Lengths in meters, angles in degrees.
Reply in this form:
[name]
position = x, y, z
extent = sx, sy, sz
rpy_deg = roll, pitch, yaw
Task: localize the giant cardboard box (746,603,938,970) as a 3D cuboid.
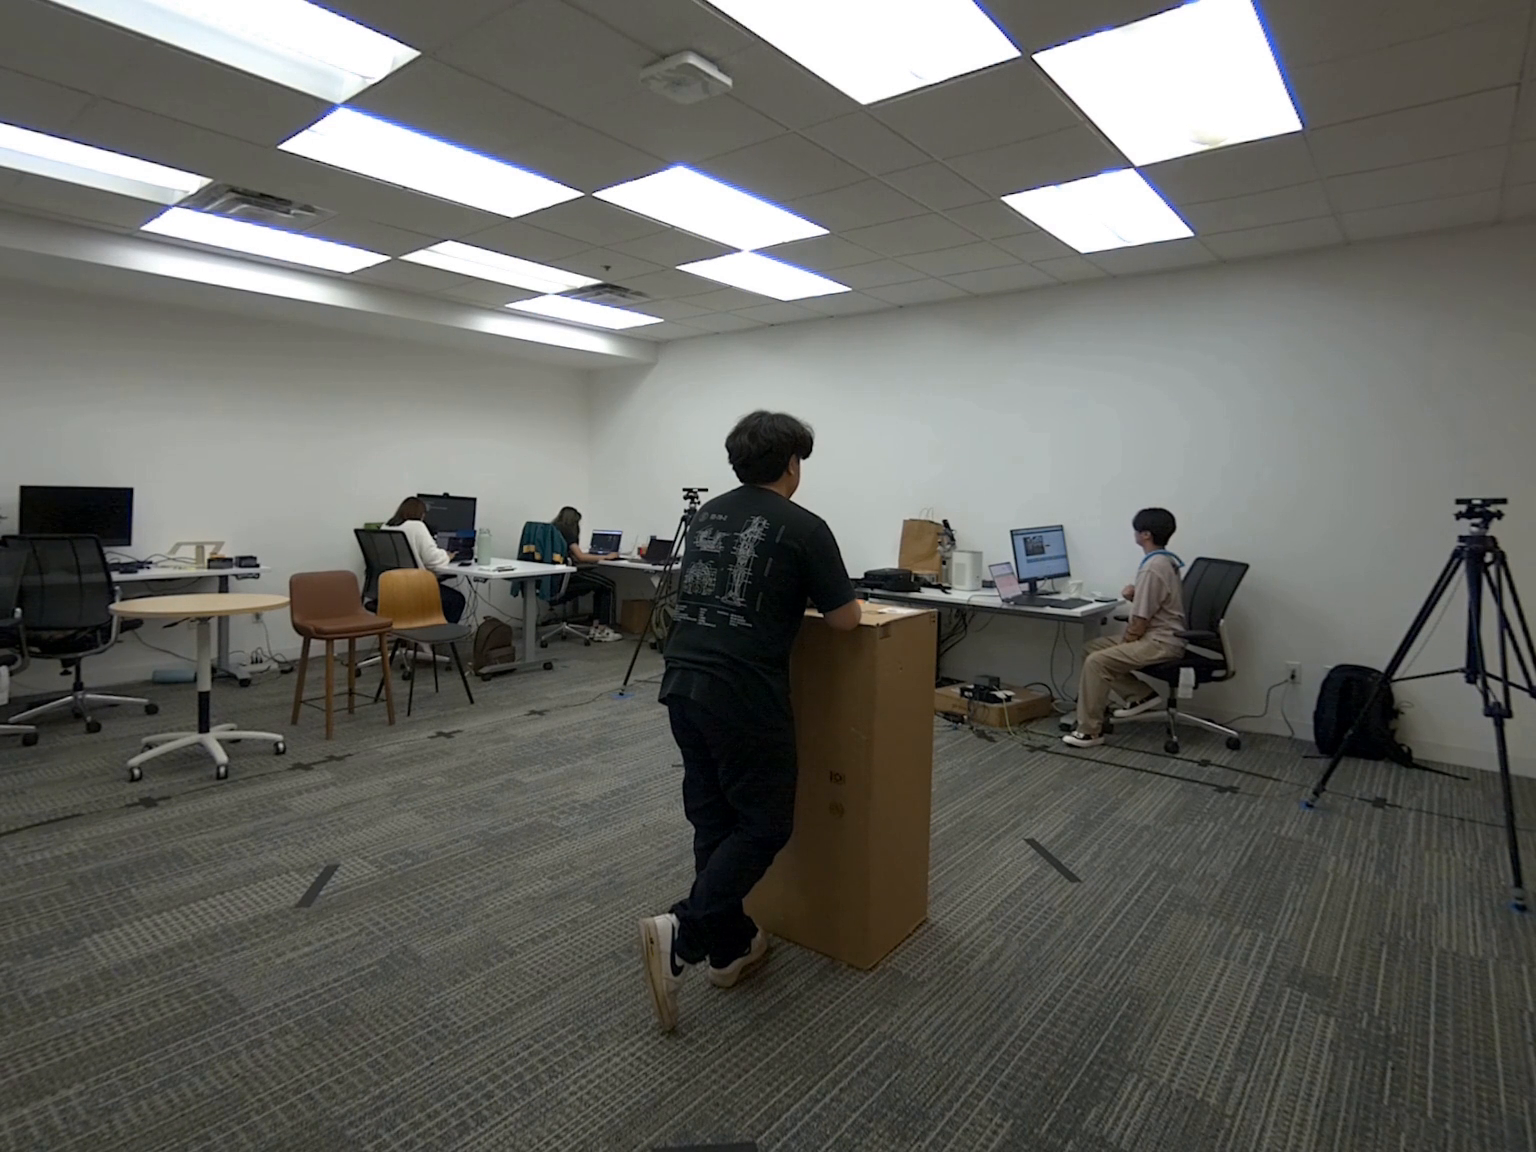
[giant cardboard box]
position = 0.181, 0.600, 2.782
extent = 0.603, 1.024, 0.433
rpy_deg = 4, 4, 37
